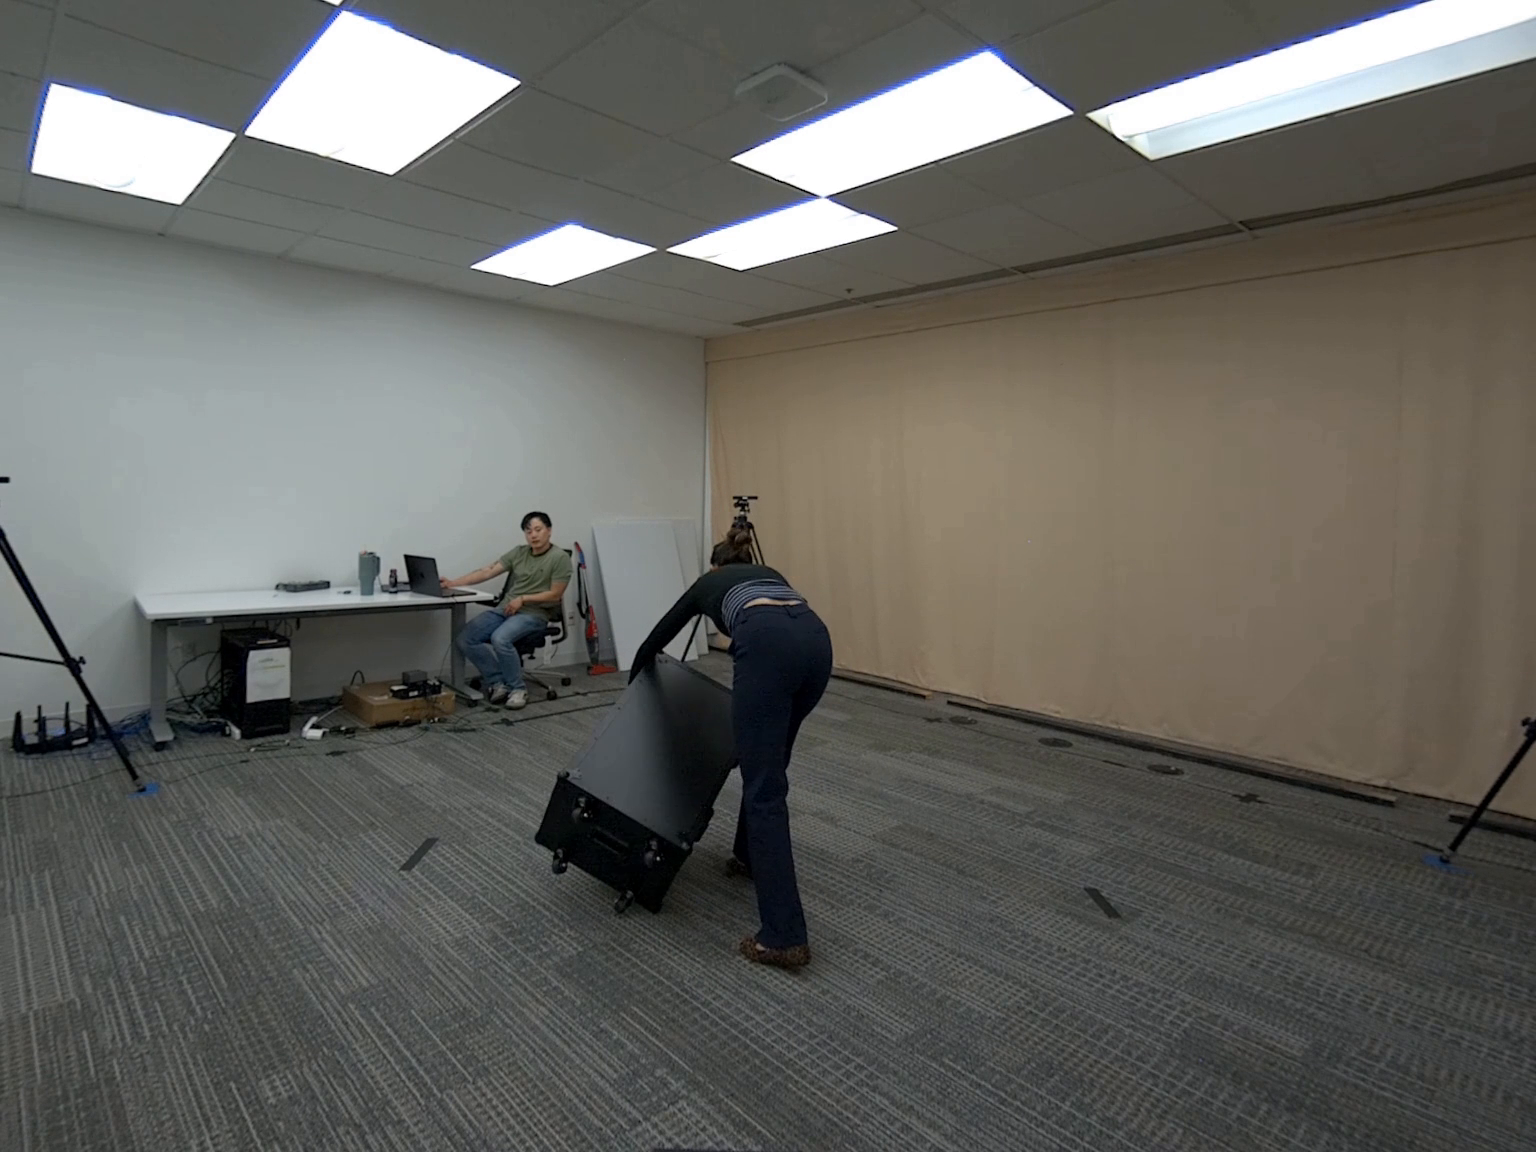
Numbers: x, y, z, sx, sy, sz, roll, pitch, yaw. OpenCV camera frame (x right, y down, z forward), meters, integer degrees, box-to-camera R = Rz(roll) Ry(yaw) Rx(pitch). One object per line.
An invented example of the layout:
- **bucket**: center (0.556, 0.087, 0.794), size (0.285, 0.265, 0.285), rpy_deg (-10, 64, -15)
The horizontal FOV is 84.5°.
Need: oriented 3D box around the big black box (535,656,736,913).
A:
- **big black box**: center (-0.430, 0.736, 3.050), size (0.524, 0.393, 0.864), rpy_deg (28, 31, 5)
